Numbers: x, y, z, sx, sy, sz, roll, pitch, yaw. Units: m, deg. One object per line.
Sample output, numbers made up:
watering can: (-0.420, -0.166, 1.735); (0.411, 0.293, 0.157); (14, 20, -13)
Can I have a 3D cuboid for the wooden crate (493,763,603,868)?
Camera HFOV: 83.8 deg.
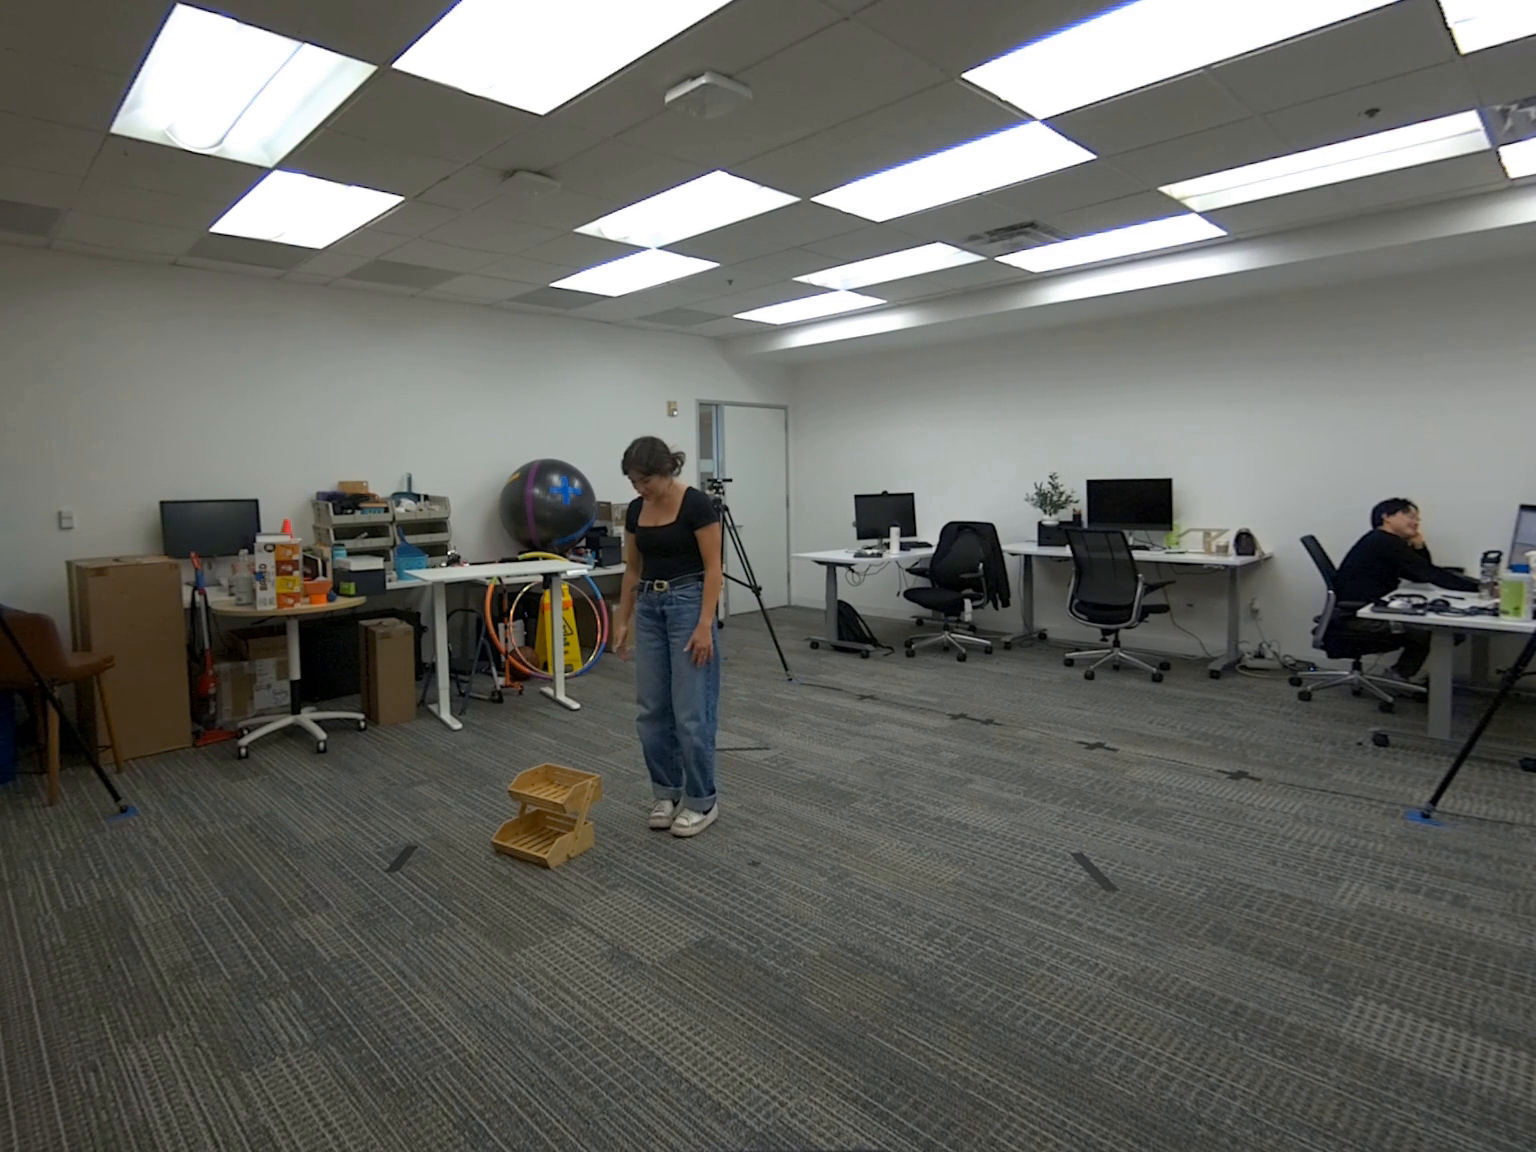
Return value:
wooden crate: (-0.850, 0.908, 3.277); (0.333, 0.272, 0.295); (2, 5, 33)
